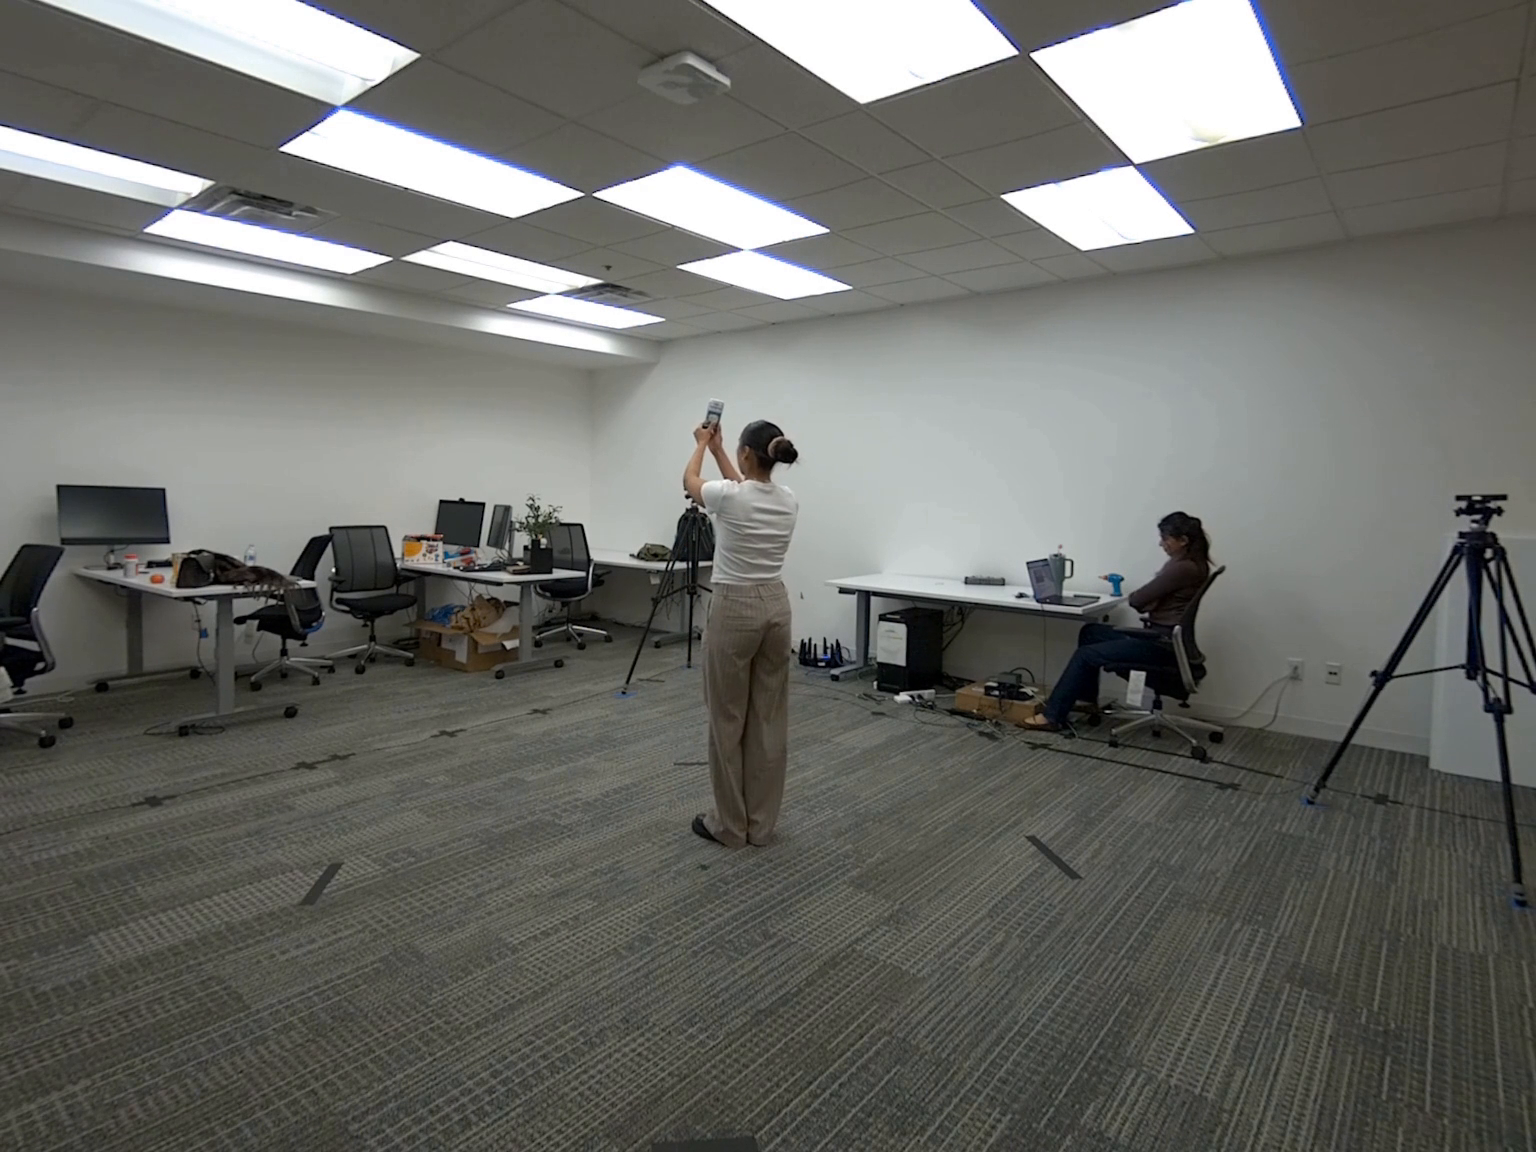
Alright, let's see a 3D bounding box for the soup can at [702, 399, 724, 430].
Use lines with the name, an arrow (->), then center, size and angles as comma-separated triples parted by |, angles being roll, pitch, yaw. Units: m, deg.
soup can -> -0.242, -0.706, 3.672 | 0.067, 0.121, 0.067 | 10, 3, -3
